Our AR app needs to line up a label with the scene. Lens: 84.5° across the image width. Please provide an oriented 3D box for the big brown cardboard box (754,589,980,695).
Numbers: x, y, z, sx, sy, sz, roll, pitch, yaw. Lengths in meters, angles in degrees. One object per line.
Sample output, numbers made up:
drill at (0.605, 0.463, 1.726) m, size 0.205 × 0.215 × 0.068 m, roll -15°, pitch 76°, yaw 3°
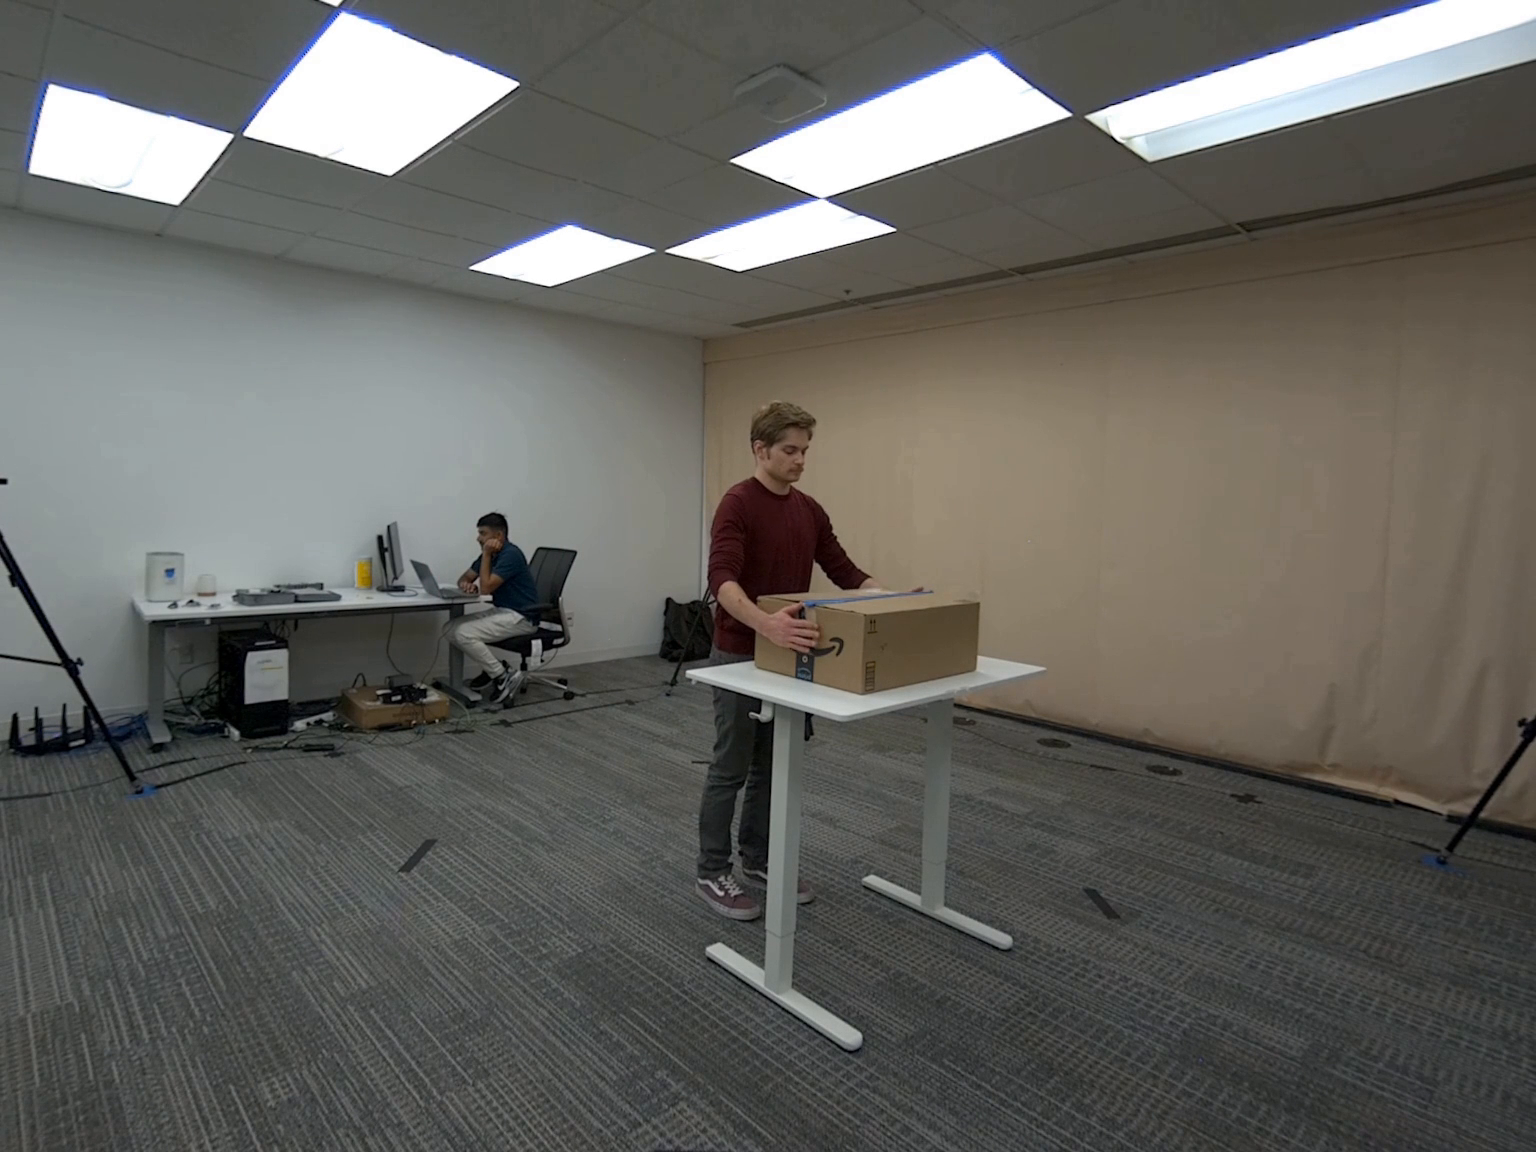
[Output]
big brown cardboard box at (0.304, 0.177, 2.545) m, size 0.575 × 0.232 × 0.428 m, roll -3°, pitch 7°, yaw -43°
